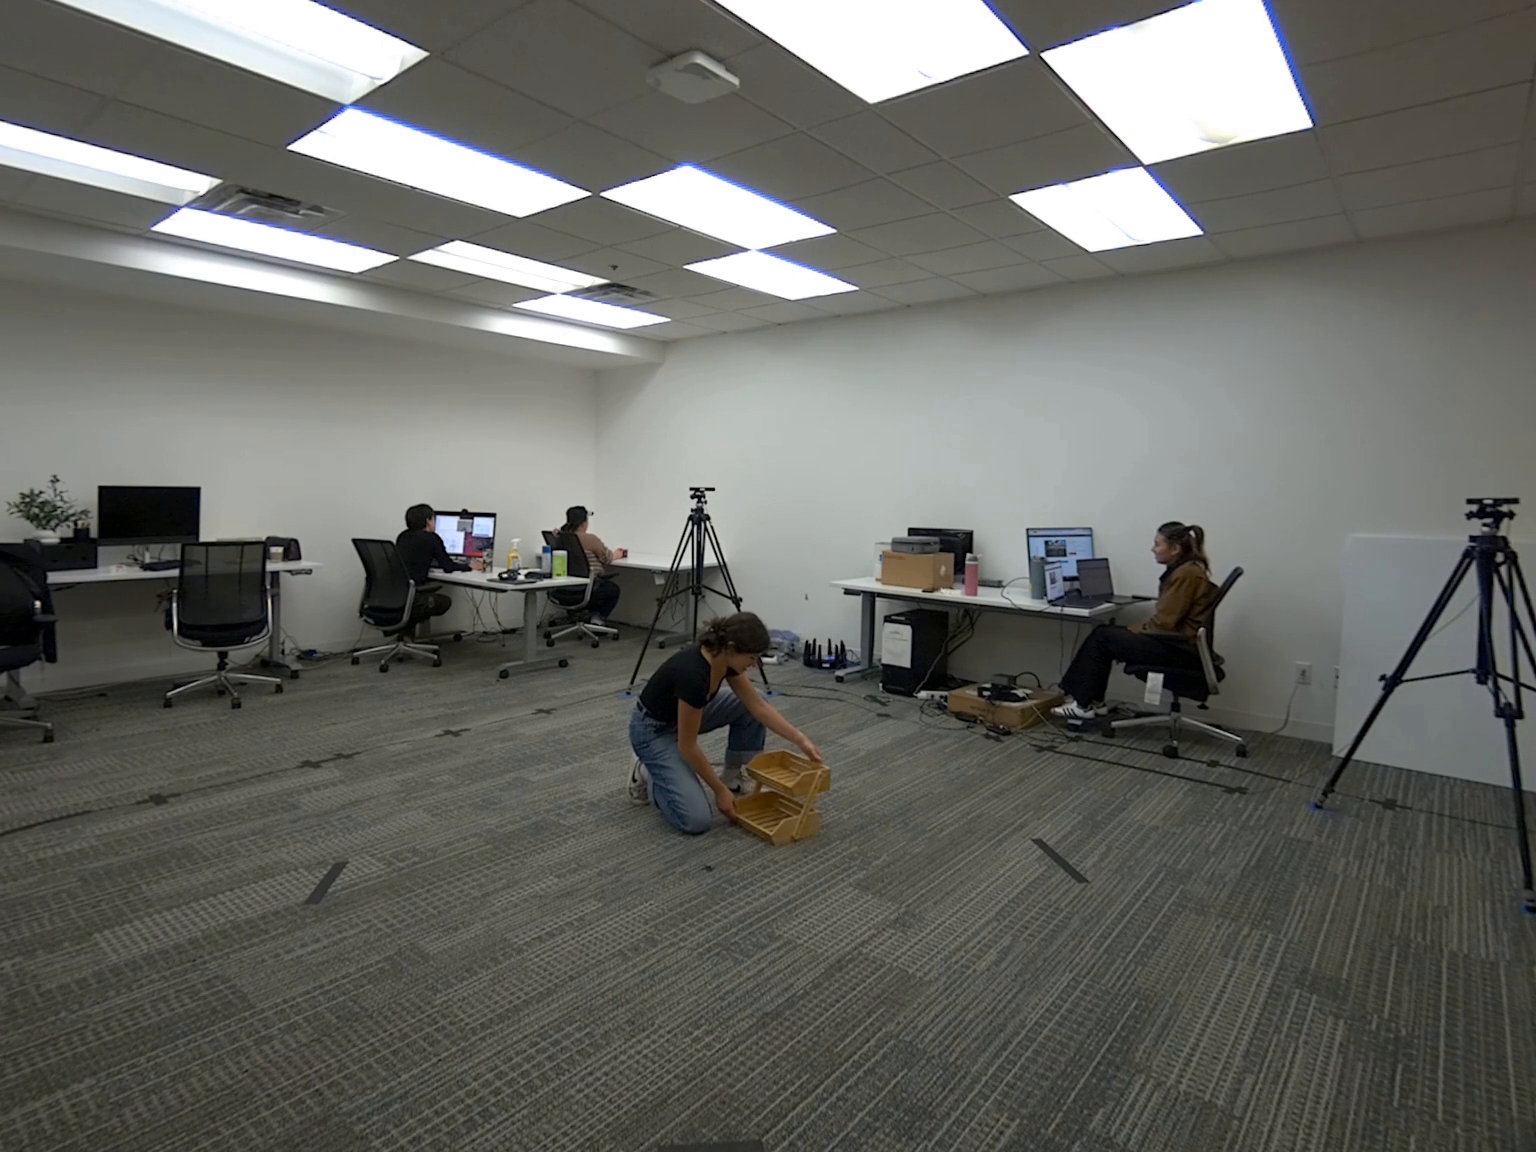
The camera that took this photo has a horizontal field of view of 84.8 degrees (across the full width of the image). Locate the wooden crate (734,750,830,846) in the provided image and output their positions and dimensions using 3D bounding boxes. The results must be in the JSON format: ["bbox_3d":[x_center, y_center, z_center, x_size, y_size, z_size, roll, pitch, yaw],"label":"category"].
[{"bbox_3d":[0.030,0.891,3.511,0.293,0.272,0.335,0,5,-38],"label":"wooden crate"}]
